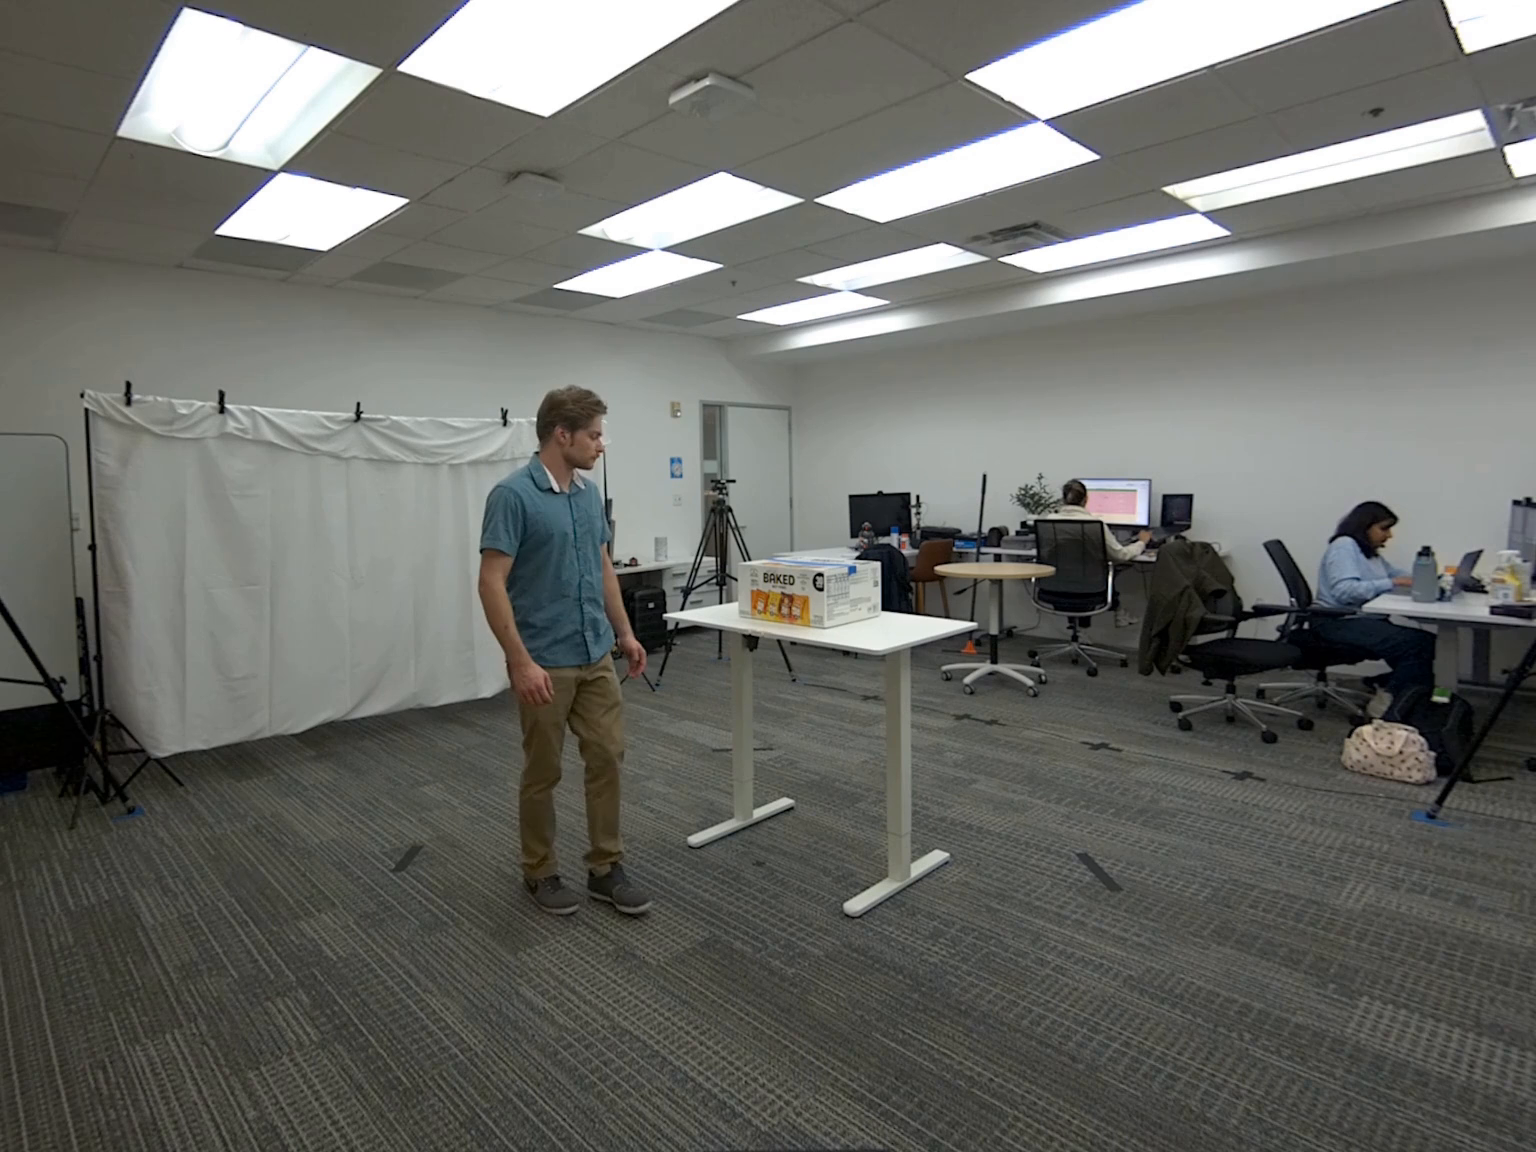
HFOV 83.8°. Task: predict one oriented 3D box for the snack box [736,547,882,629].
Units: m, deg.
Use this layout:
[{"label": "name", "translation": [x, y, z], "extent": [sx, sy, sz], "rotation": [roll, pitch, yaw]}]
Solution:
[{"label": "snack box", "translation": [0.154, 0.050, 3.172], "extent": [0.418, 0.205, 0.332], "rotation": [5, 9, 42]}]
